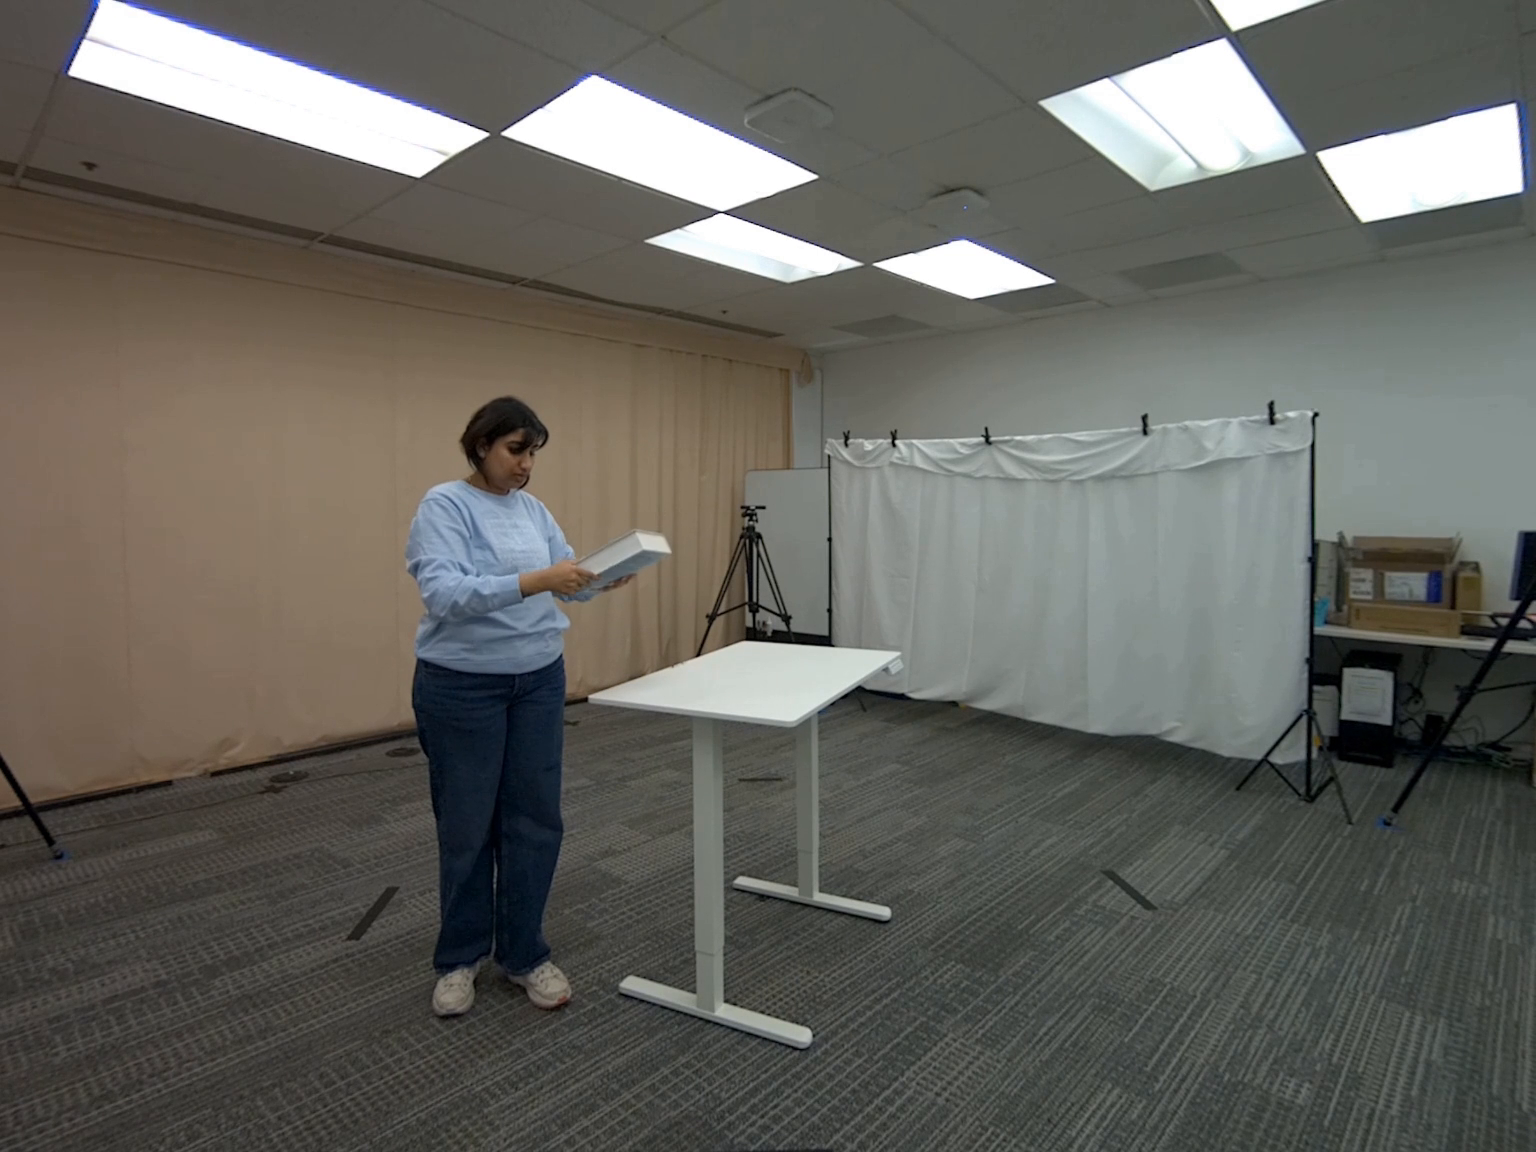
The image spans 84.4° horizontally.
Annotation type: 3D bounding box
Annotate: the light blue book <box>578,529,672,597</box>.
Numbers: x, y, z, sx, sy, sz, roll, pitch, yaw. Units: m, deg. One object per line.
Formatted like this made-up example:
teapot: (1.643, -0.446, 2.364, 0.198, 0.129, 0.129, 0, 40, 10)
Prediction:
light blue book: (-0.414, -0.035, 2.228, 0.263, 0.059, 0.187, -24, -9, 14)
